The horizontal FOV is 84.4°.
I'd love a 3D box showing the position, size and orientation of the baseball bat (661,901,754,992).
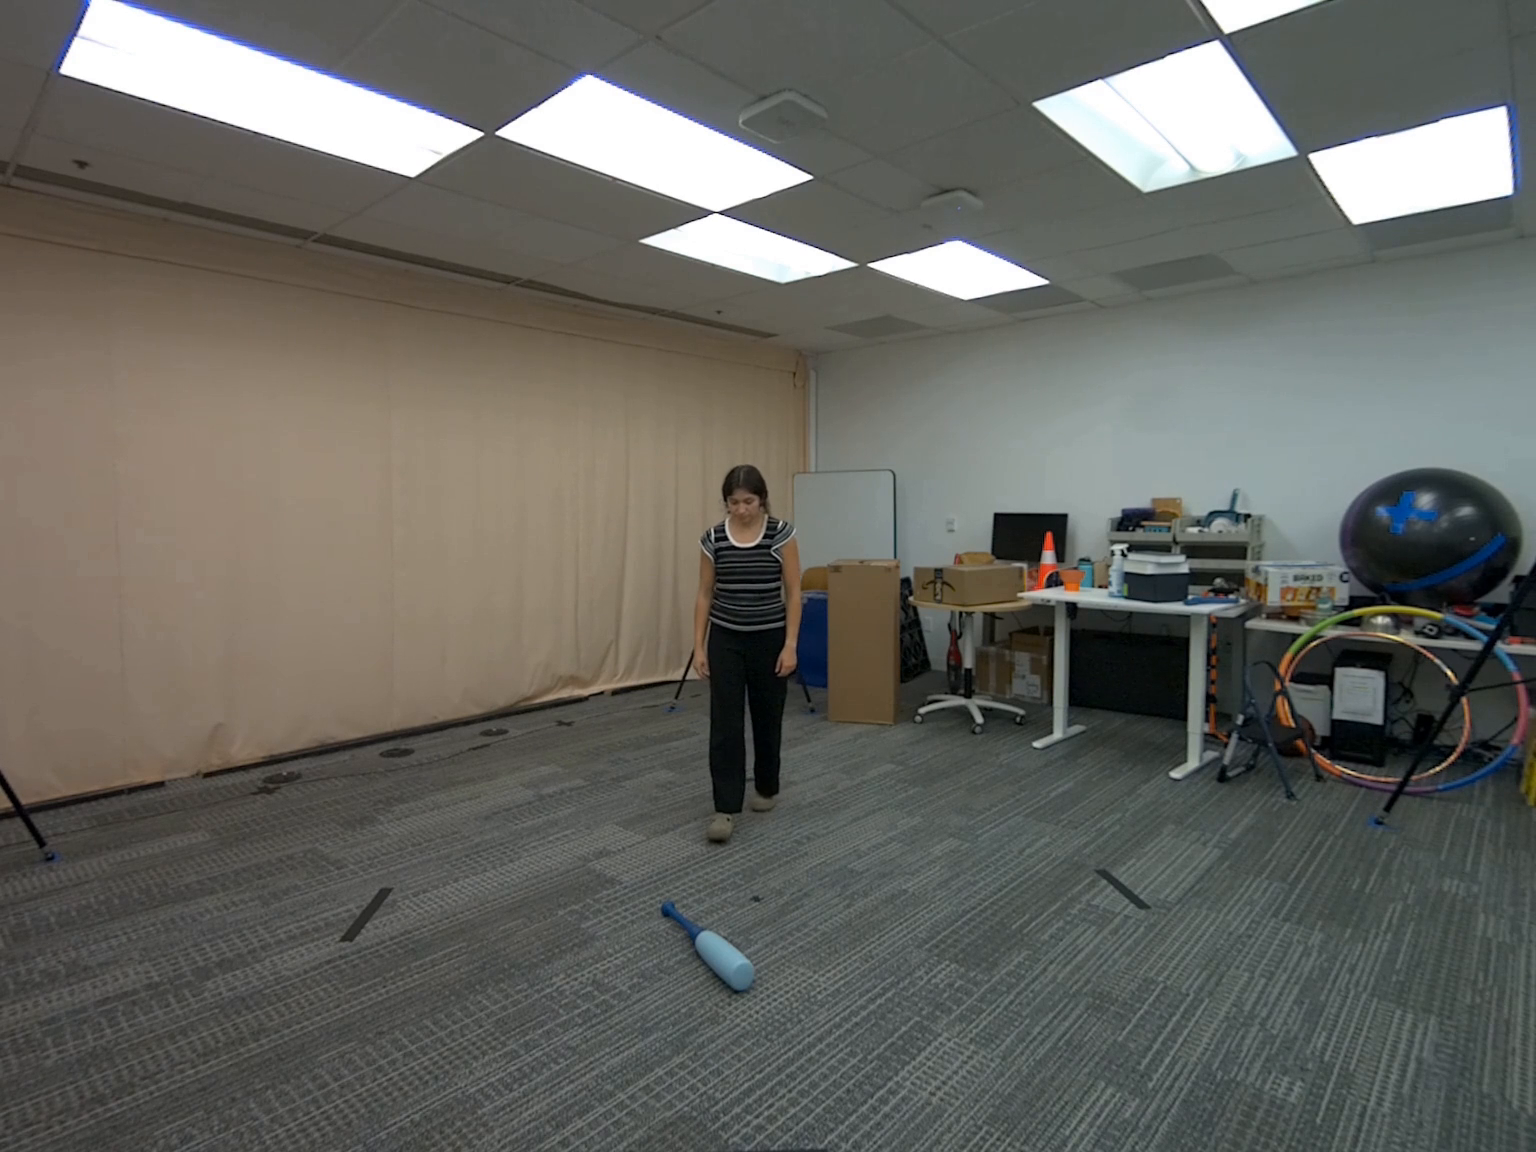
[{"bbox_3d":[-0.208,1.135,2.635,0.087,0.089,0.557,-2,2,-29],"label":"baseball bat"}]
